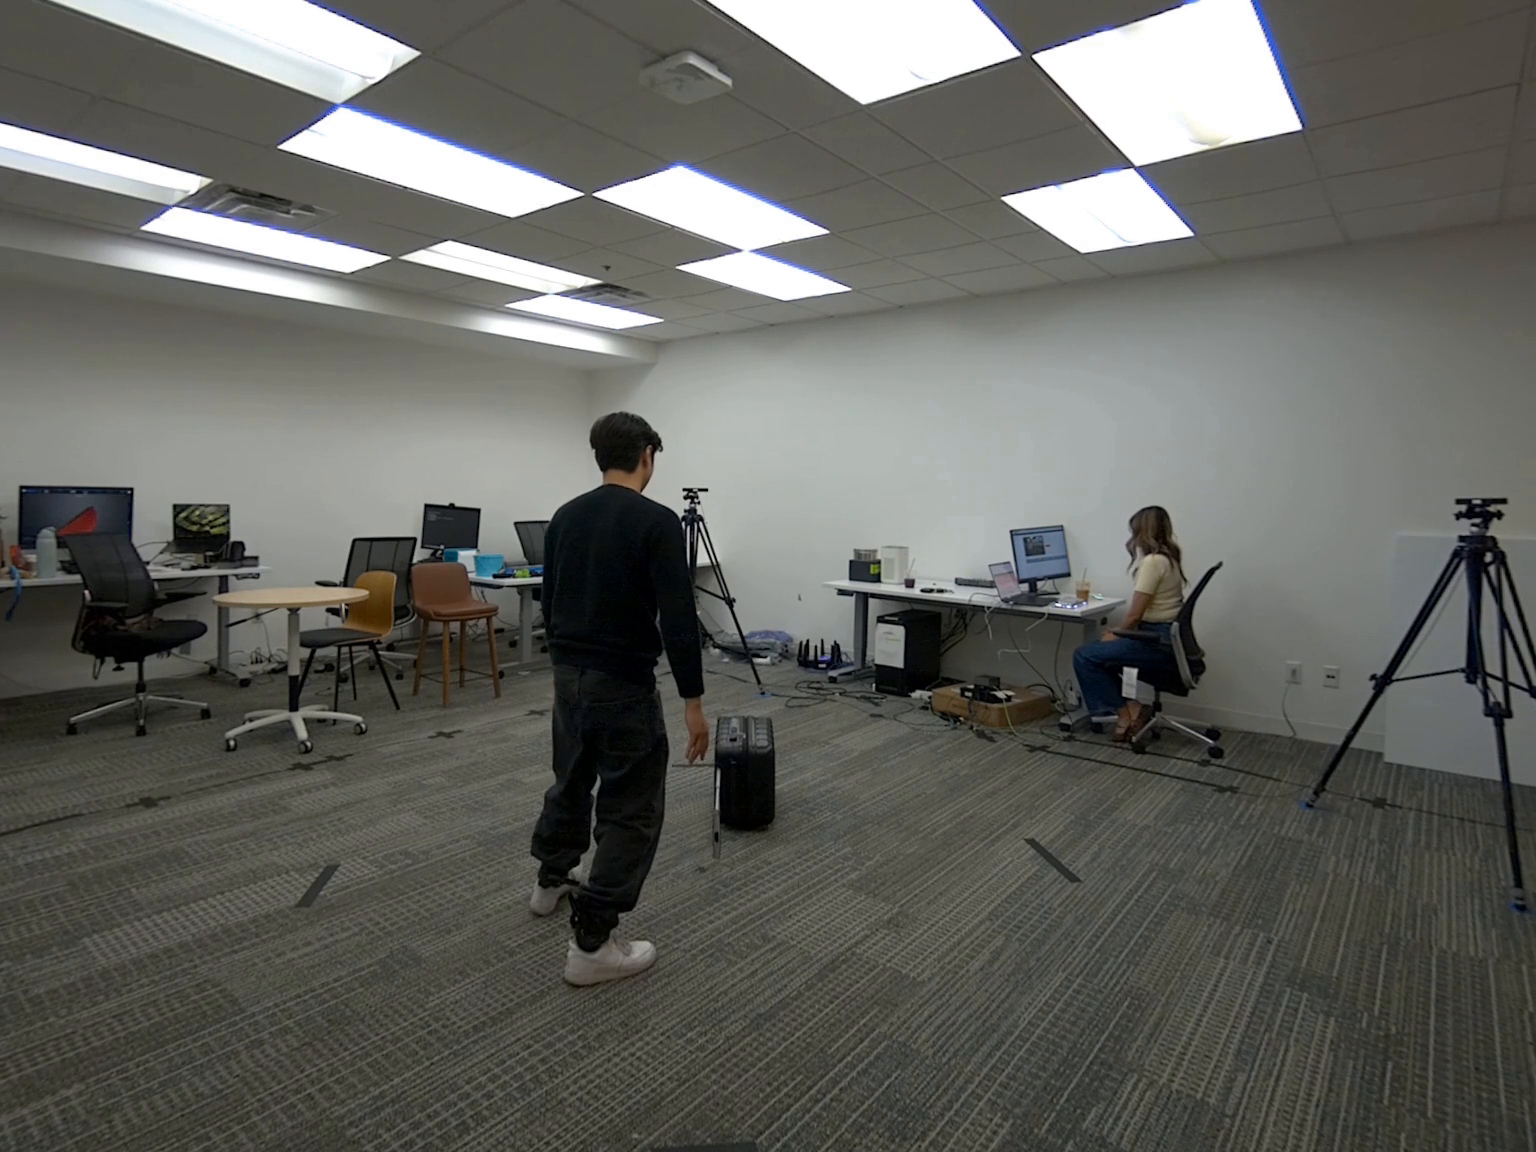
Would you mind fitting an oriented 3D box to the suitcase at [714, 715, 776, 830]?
[{"bbox_3d":[-0.097,0.849,3.479,0.256,0.382,0.984,0,6,-3],"label":"suitcase"}]
